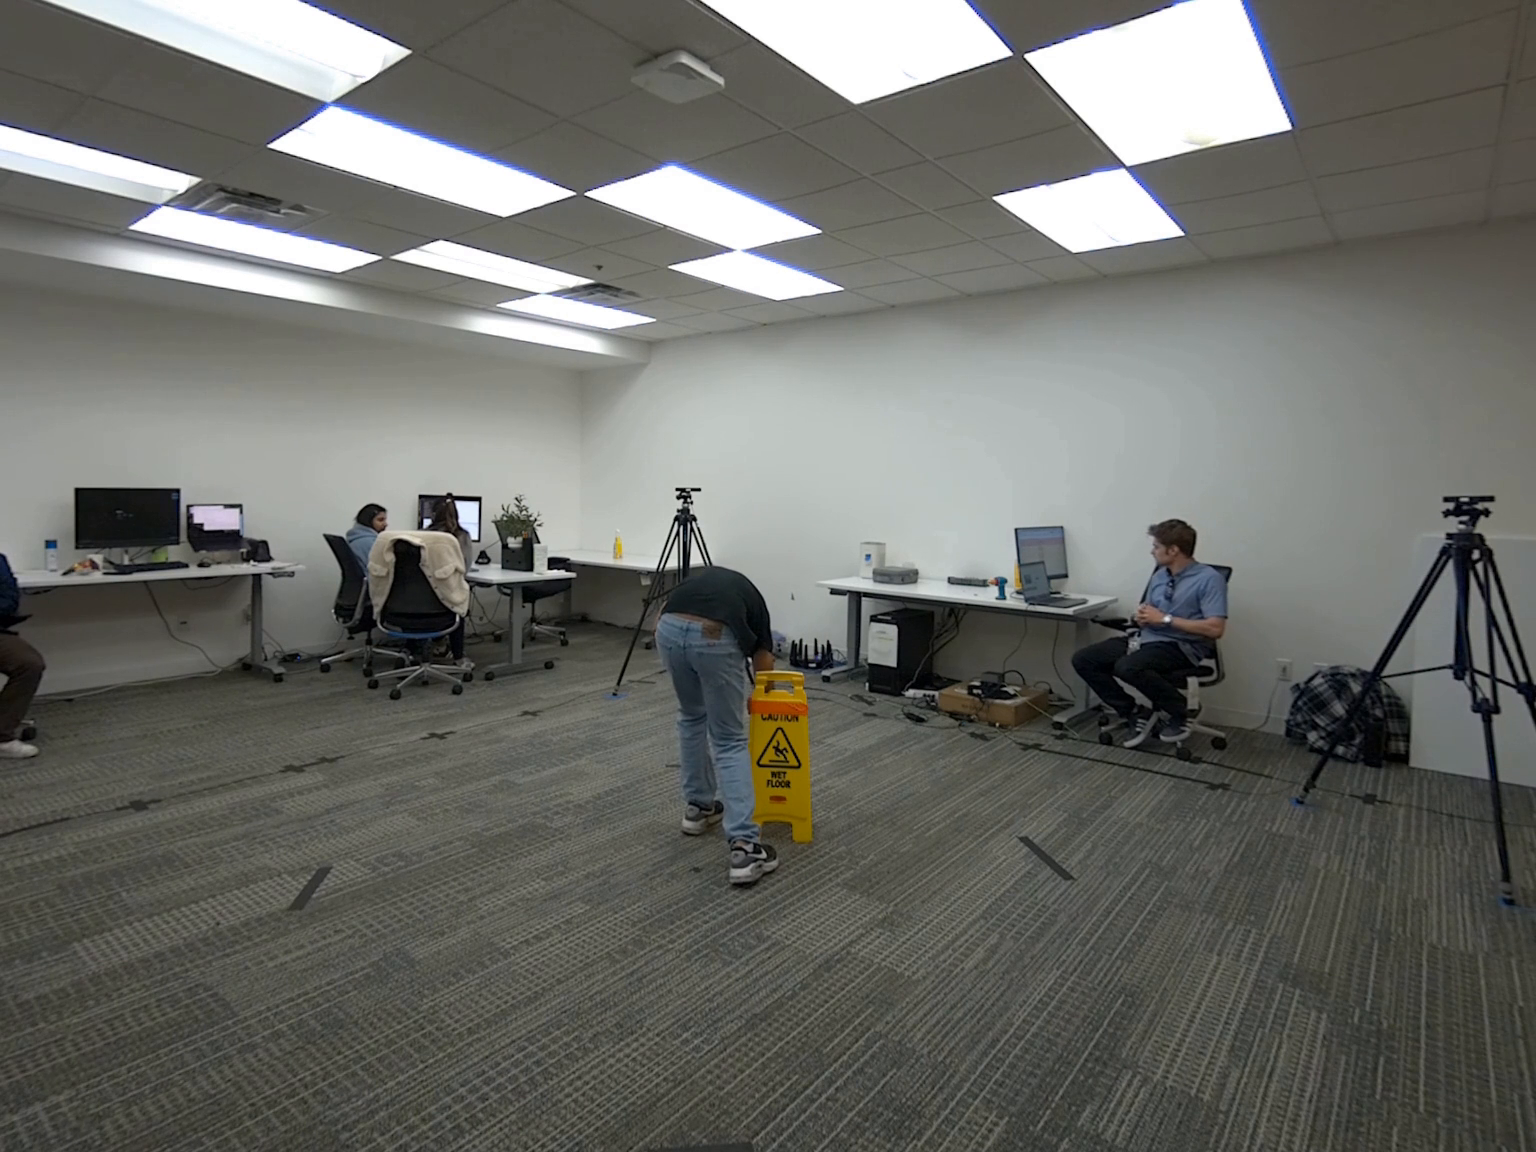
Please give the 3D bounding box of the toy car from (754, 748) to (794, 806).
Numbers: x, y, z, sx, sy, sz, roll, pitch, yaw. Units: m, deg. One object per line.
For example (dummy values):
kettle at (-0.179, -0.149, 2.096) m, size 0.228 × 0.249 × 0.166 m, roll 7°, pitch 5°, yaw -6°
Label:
toy car at (0.019, 0.879, 3.682) m, size 0.129 × 0.249 × 0.086 m, roll 2°, pitch 32°, yaw -10°
